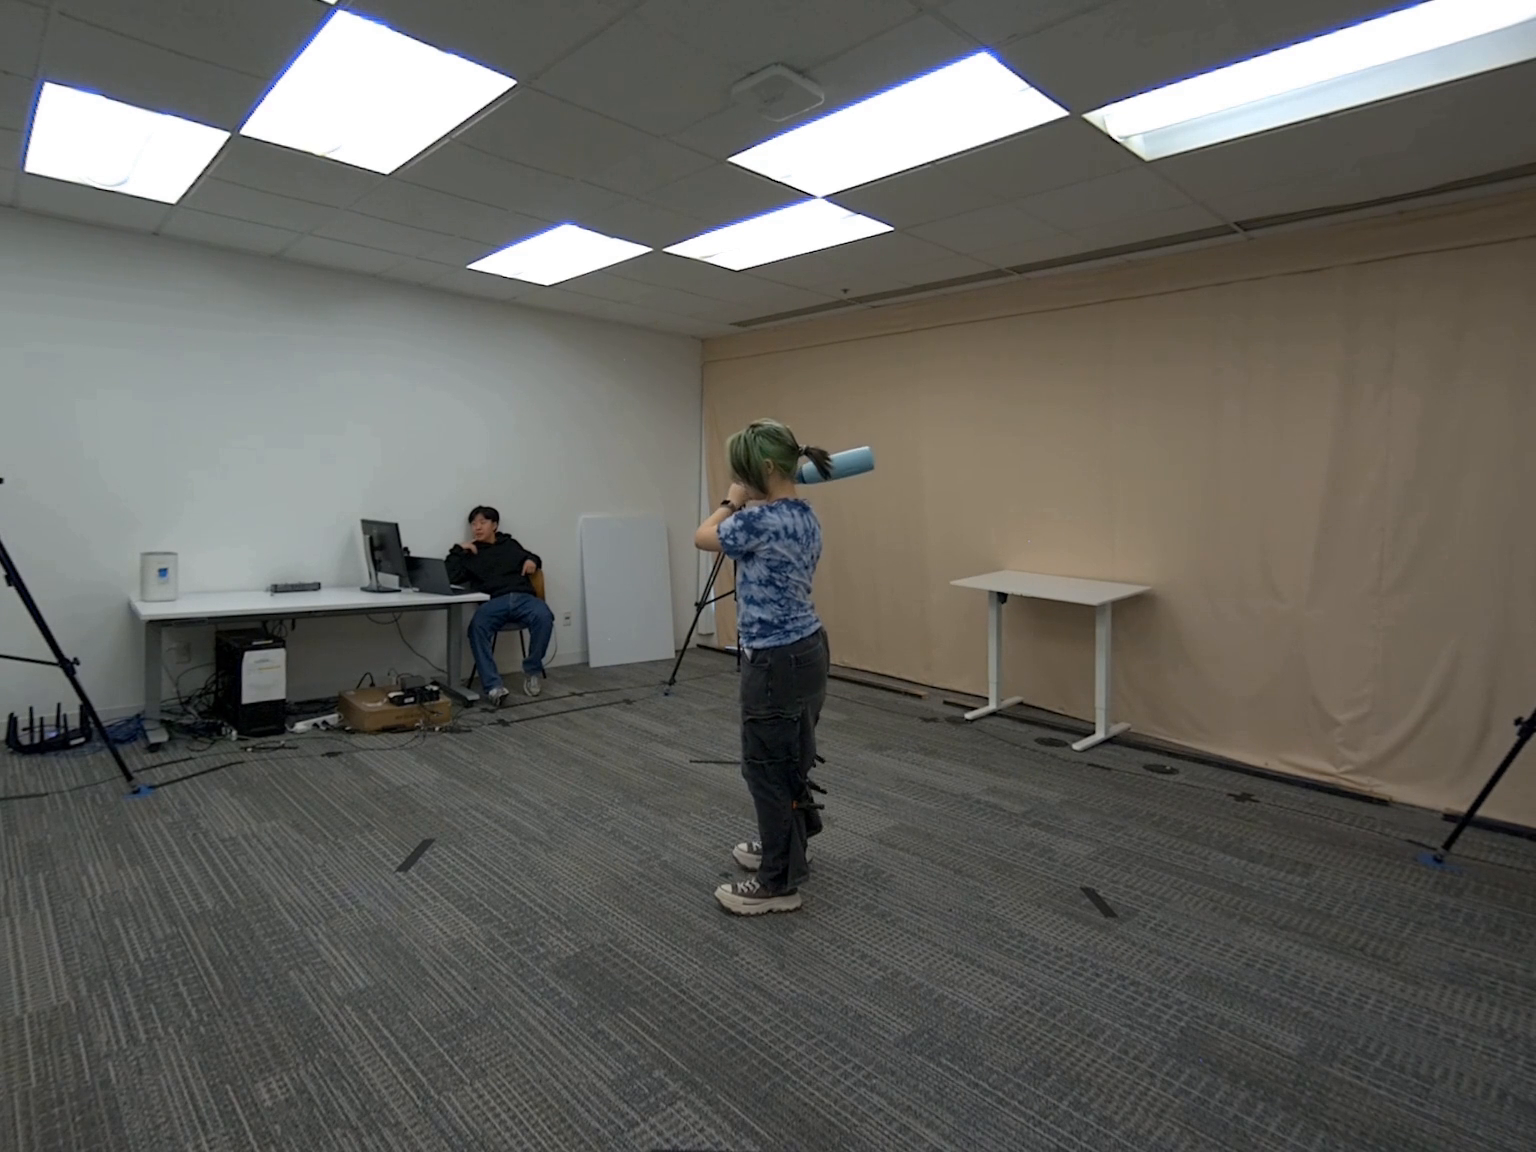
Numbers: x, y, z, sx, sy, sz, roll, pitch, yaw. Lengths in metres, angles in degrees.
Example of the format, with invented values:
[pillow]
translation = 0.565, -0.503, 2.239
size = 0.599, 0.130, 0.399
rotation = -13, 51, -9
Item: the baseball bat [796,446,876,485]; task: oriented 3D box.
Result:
[baseball bat]
translation = 0.103, -0.348, 2.979
size = 0.548, 0.089, 0.088
rotation = -14, 0, 15
